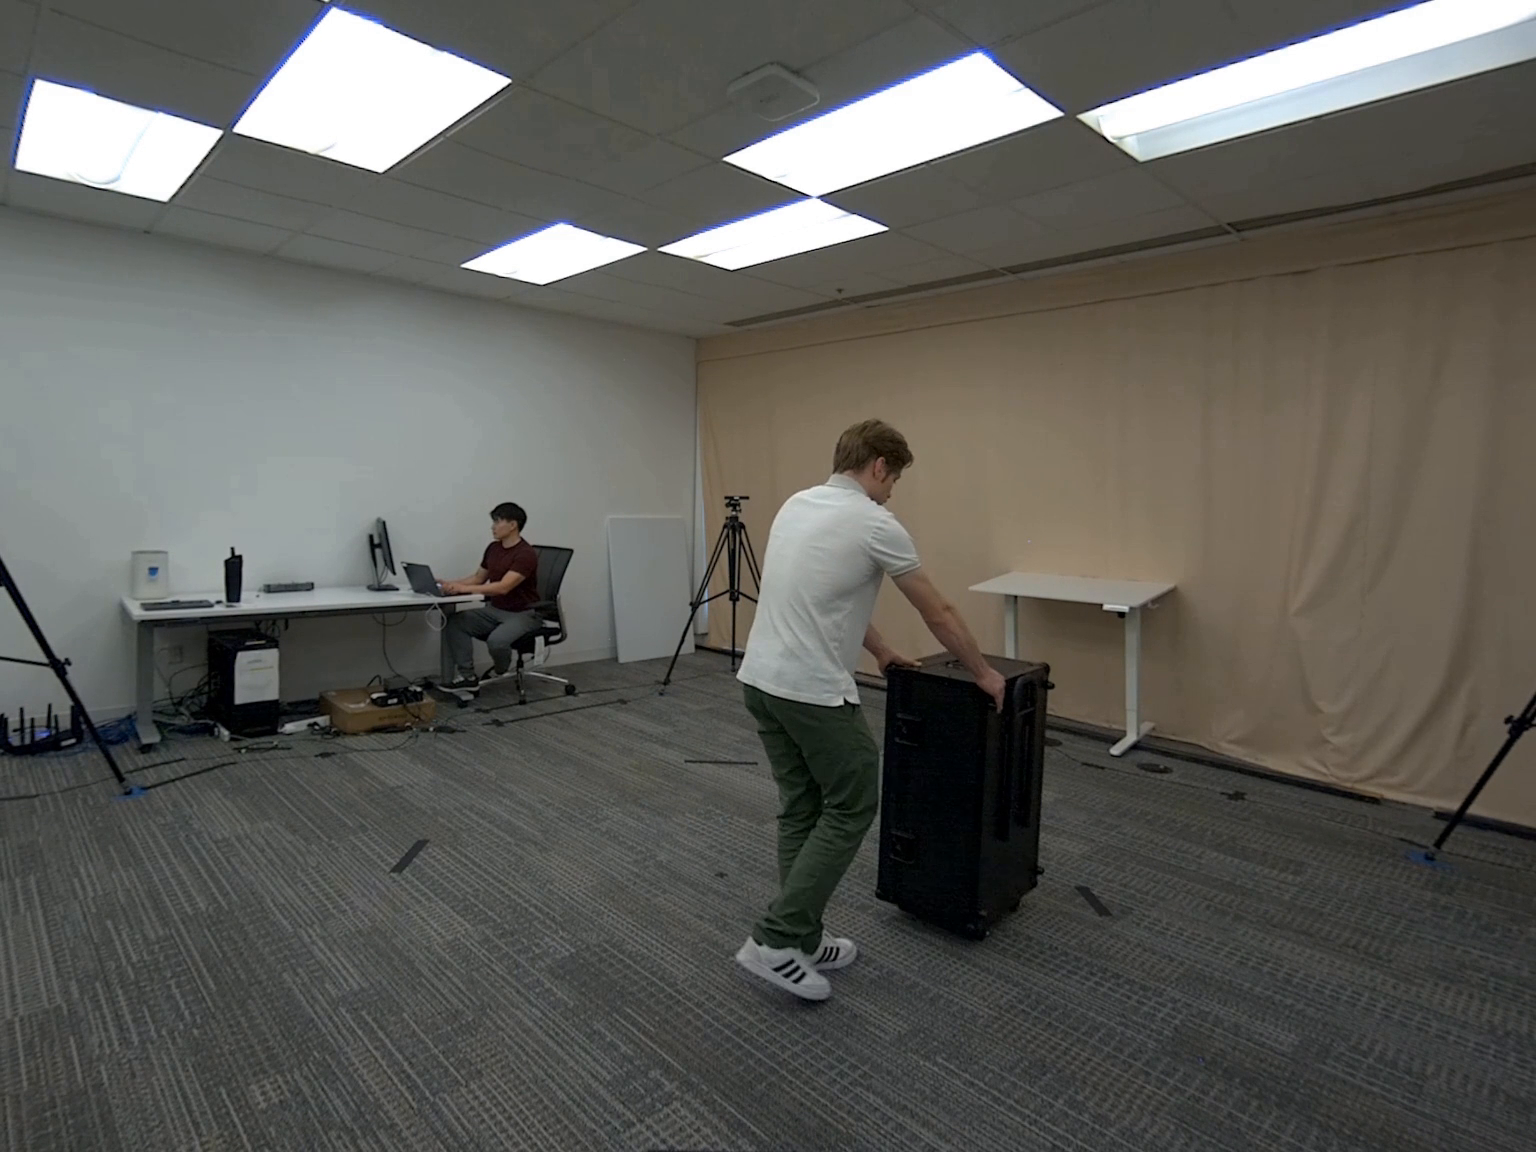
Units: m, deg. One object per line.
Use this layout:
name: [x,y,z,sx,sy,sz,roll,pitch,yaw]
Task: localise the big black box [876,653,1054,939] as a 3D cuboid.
big black box: [0.665,0.725,2.850,0.395,0.866,0.512,6,6,39]
